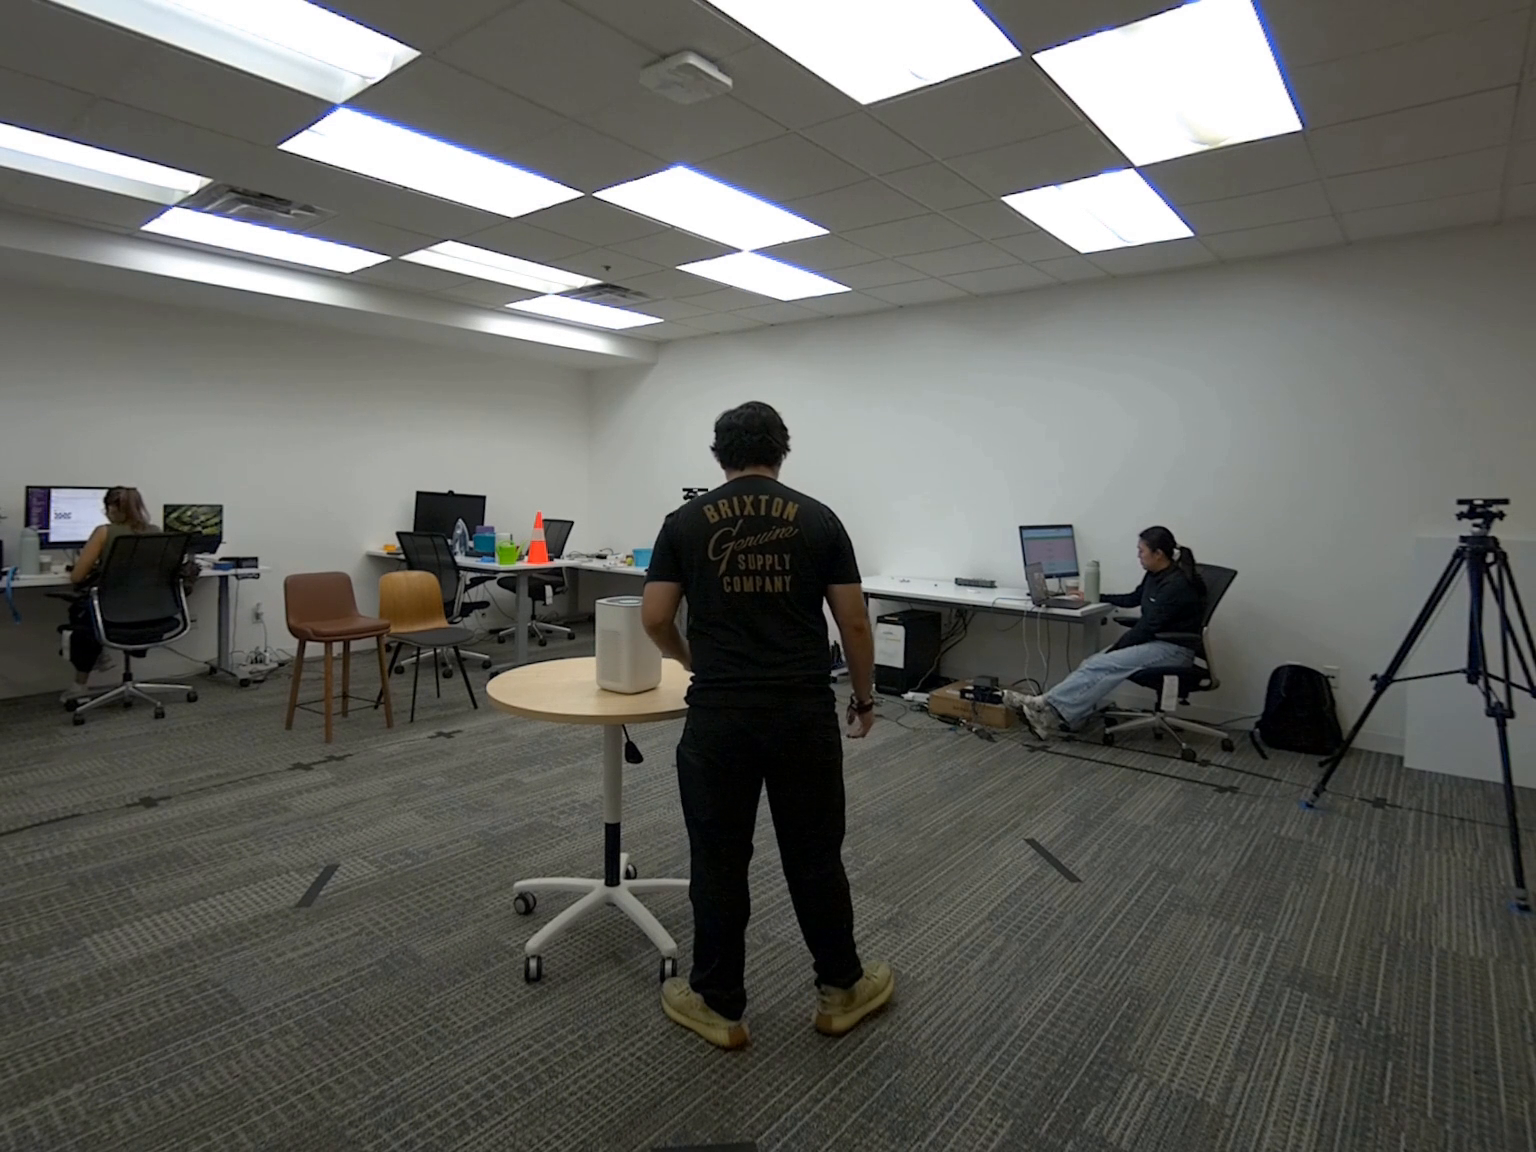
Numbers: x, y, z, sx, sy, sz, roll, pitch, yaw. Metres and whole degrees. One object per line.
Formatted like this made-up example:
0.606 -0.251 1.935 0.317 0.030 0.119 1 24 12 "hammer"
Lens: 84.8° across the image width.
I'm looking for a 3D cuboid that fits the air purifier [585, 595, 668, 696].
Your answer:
-0.431 0.202 2.562 0.179 0.261 0.164 2 5 34 "air purifier"
